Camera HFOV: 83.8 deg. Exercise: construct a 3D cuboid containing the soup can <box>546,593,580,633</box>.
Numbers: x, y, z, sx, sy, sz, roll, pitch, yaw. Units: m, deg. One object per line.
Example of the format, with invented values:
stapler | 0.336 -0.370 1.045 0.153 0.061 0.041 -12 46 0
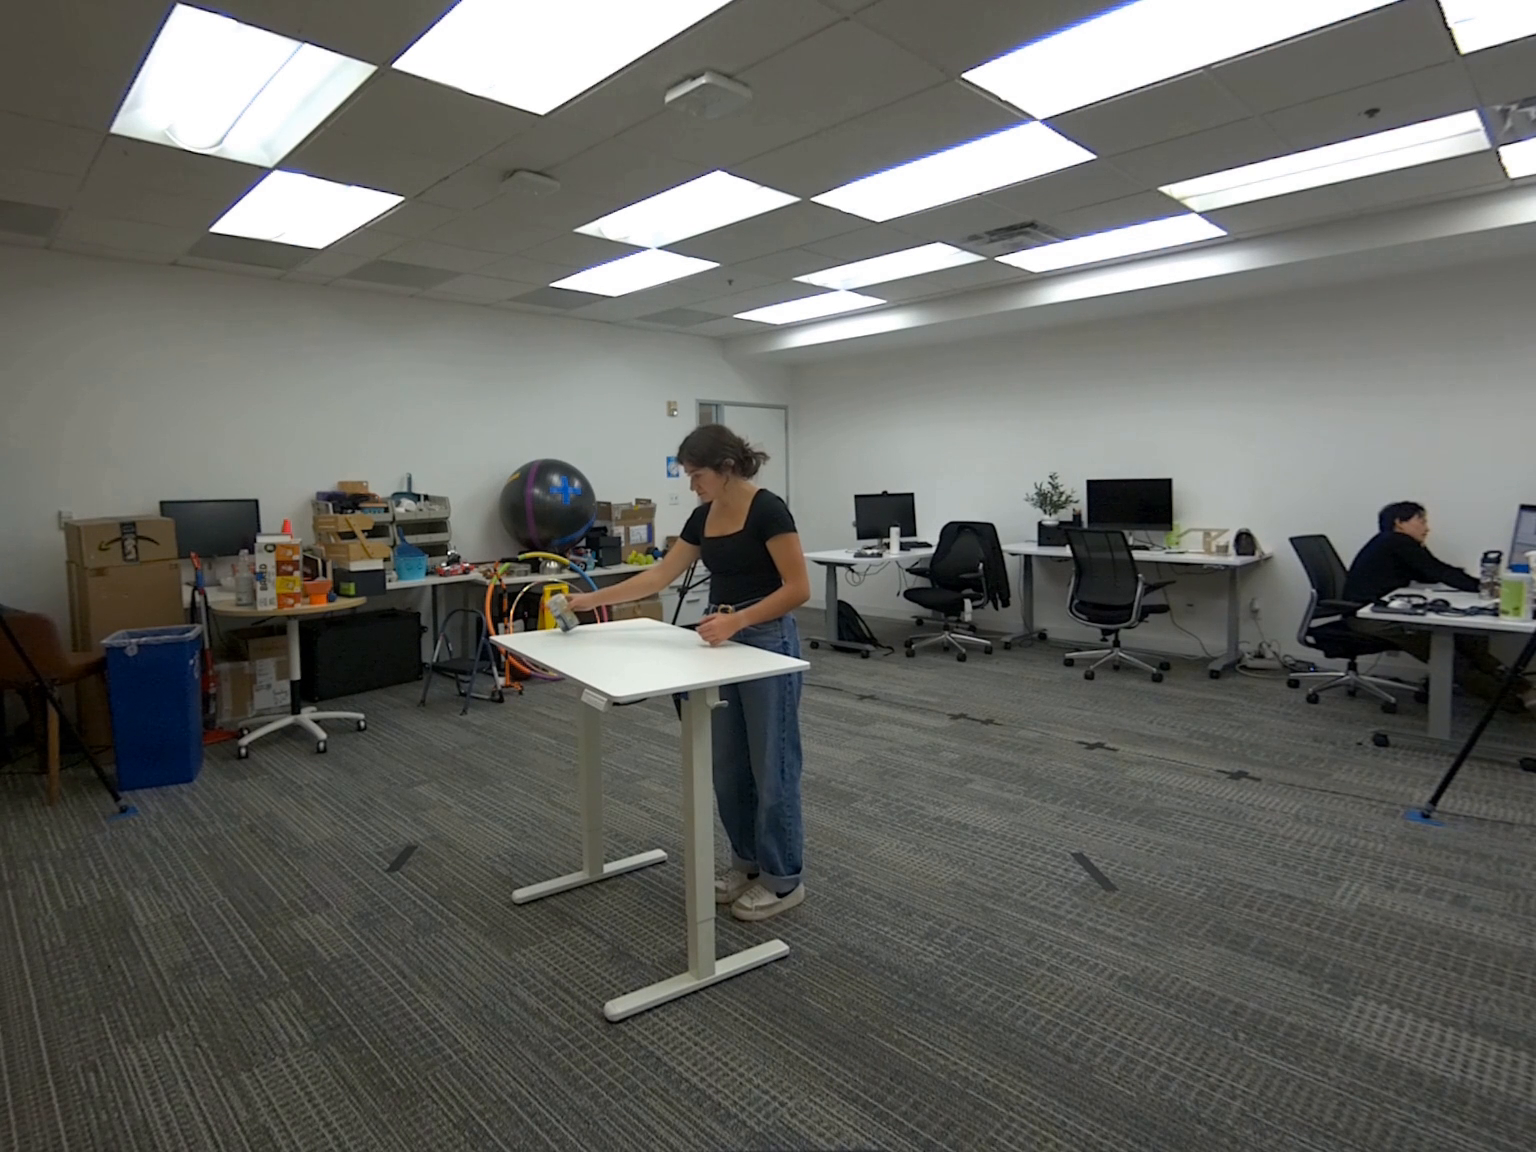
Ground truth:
soup can | -0.697 0.125 2.908 0.067 0.120 0.067 -28 7 2
